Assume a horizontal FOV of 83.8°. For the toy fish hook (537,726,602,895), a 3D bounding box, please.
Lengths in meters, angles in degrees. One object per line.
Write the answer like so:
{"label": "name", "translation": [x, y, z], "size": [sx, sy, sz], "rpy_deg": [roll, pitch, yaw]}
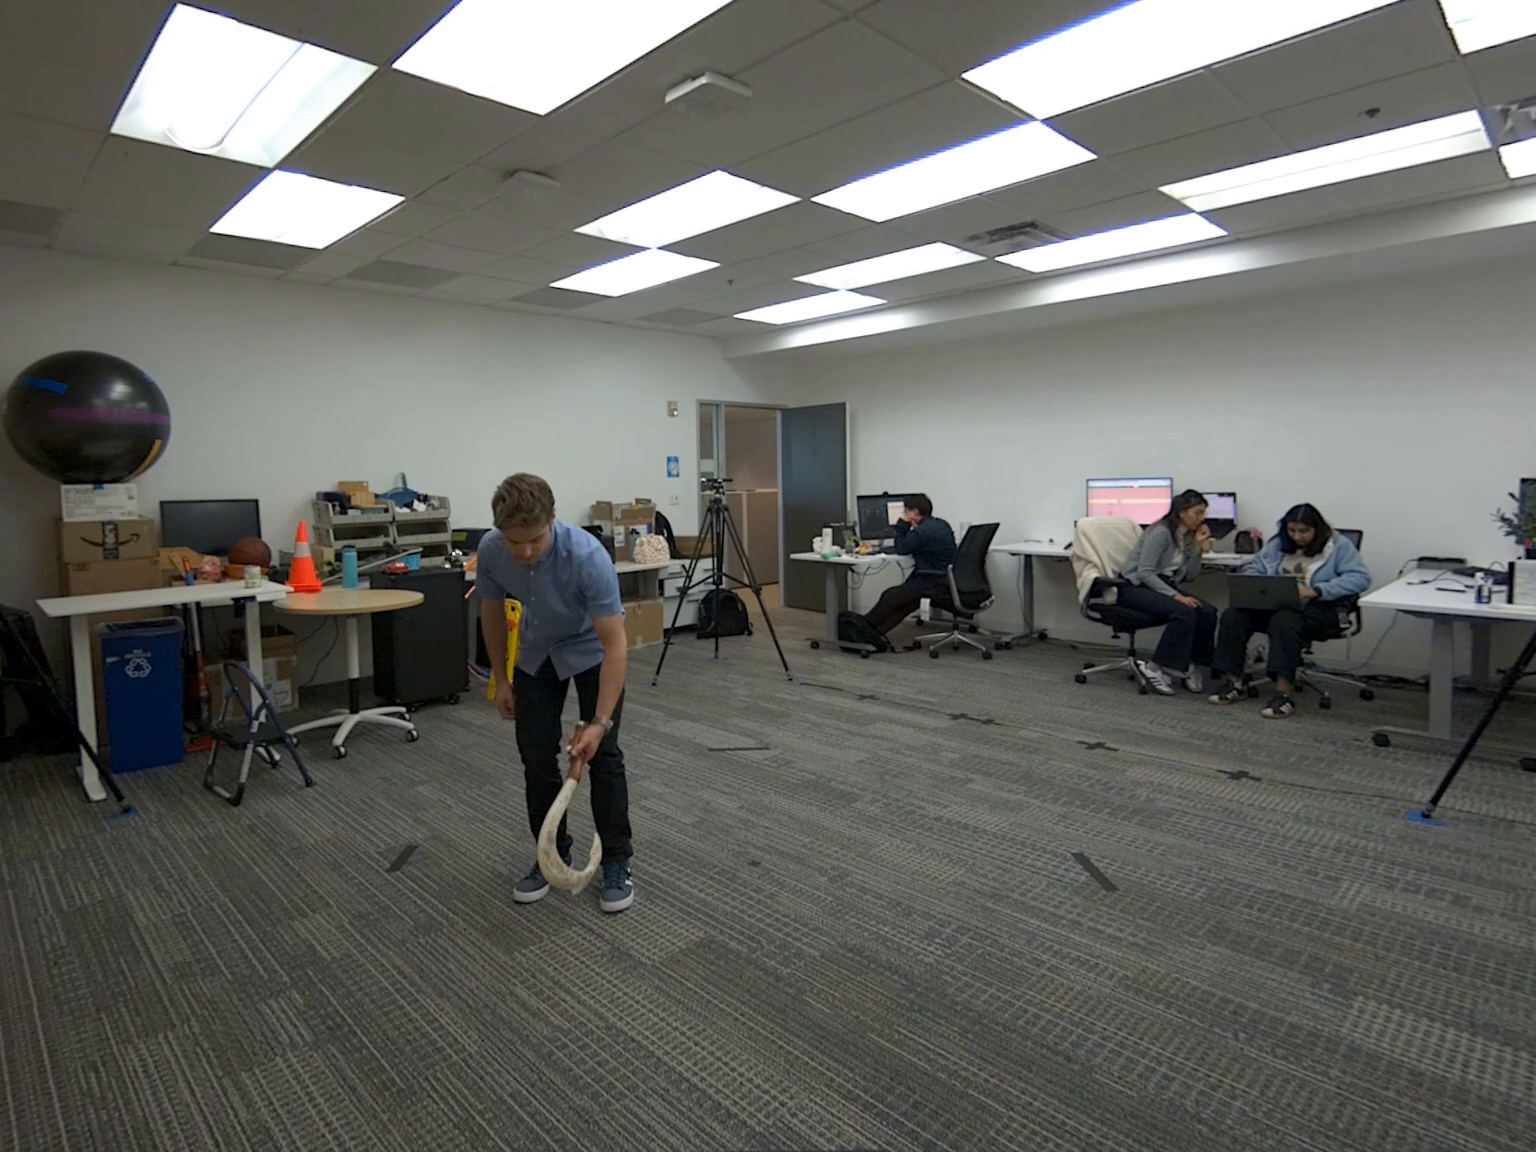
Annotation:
{"label": "toy fish hook", "translation": [-0.562, 0.688, 2.538], "size": [0.049, 0.519, 0.216], "rpy_deg": [-26, -50, 29]}
